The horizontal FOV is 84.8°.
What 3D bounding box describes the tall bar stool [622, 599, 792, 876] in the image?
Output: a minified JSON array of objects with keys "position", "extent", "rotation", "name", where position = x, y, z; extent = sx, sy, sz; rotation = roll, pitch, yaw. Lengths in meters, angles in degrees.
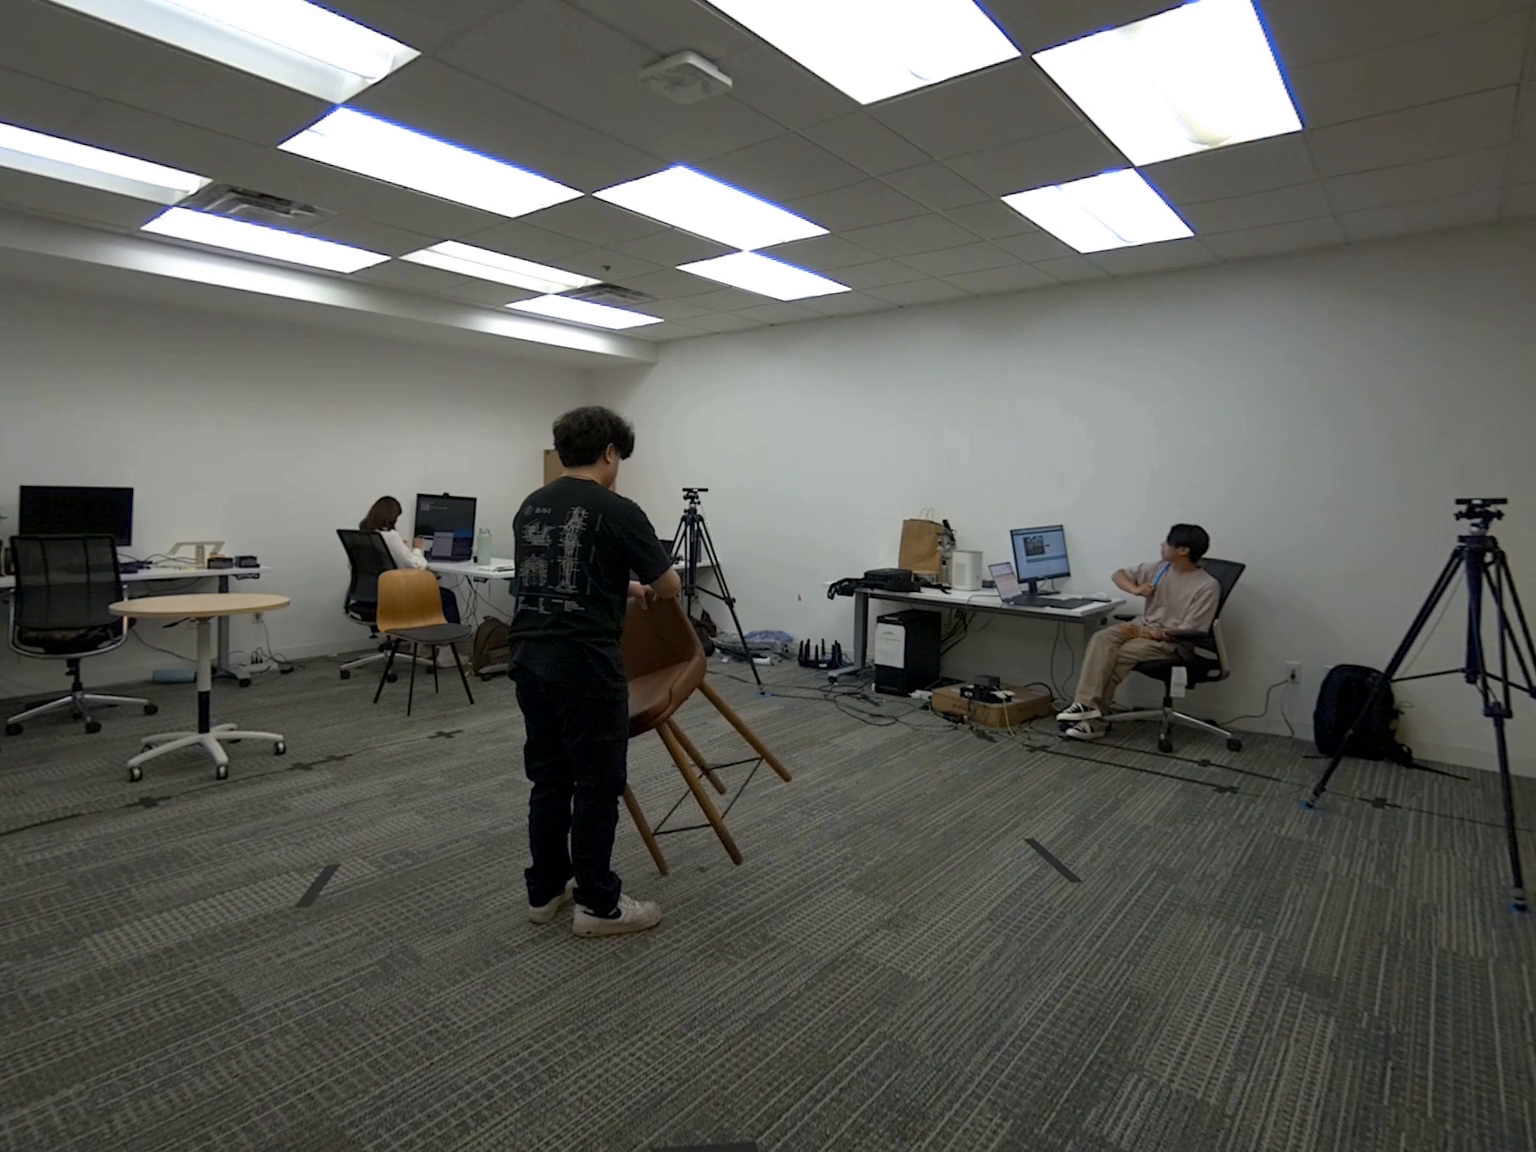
[{"position":[-0.369,0.542,3.055],"extent":[0.464,0.881,0.465],"rotation":[-24,10,38],"name":"tall bar stool"}]
